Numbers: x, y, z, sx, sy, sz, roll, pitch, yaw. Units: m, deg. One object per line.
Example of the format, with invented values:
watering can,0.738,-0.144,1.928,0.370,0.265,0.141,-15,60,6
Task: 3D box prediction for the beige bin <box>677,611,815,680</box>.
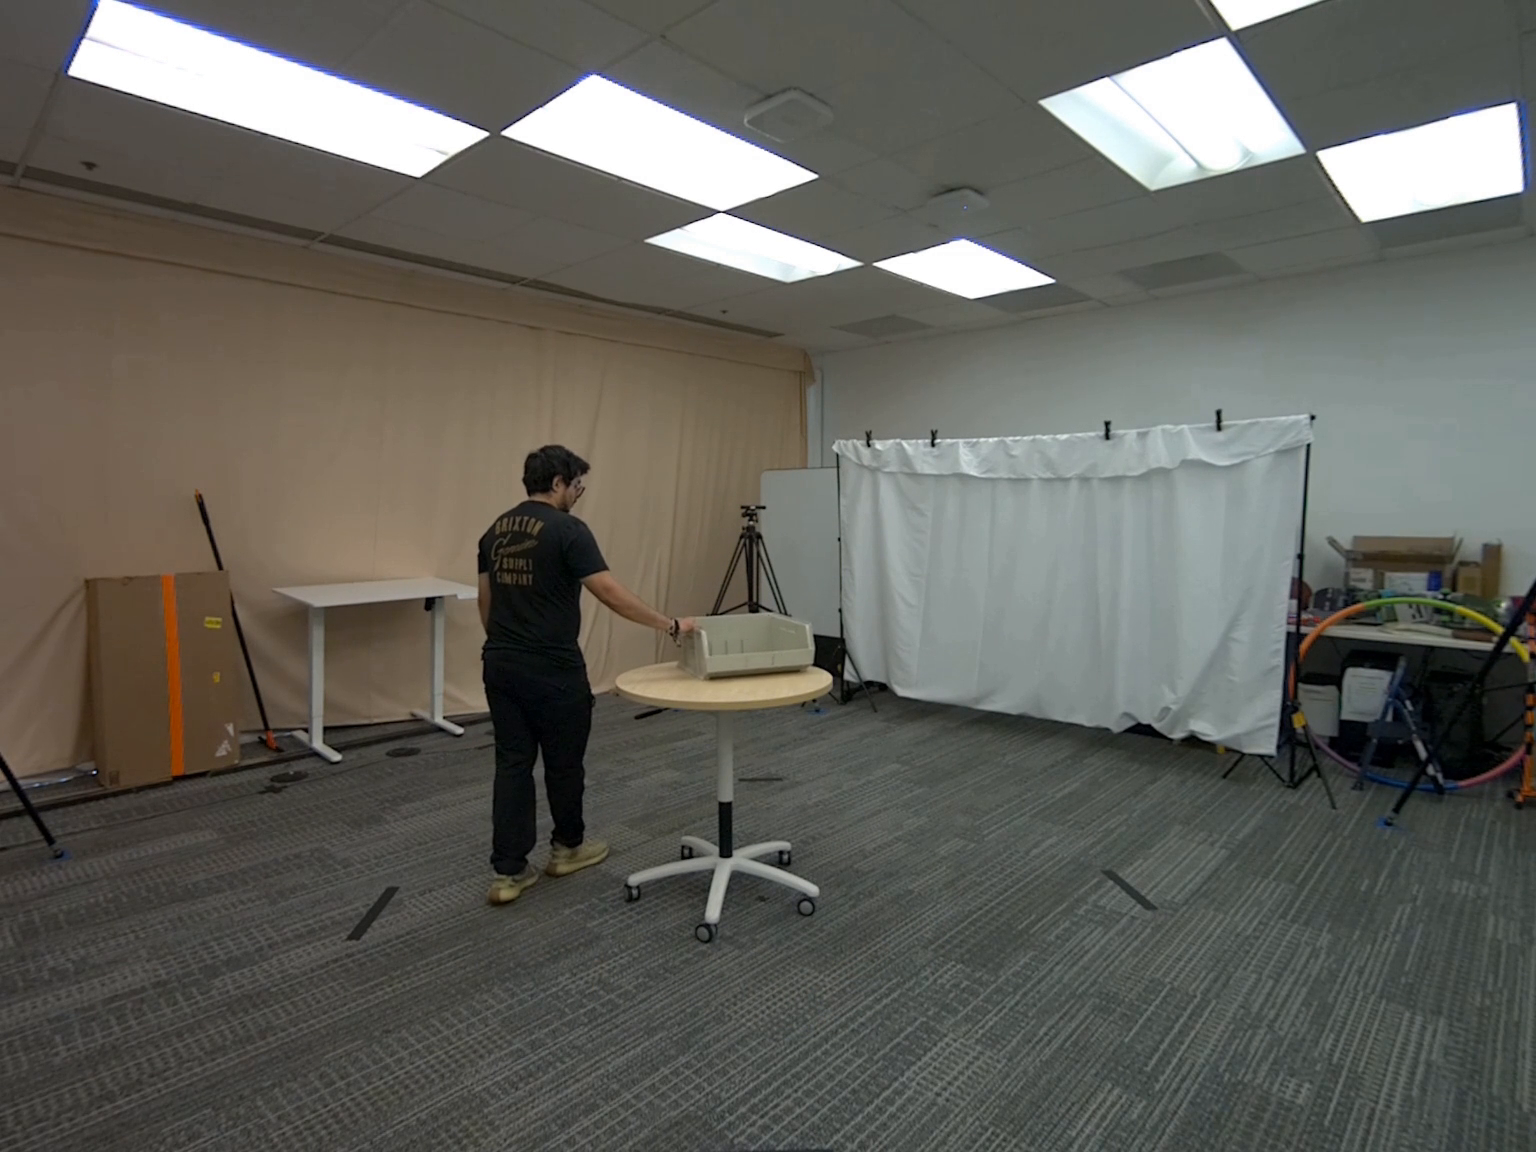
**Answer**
beige bin,-0.093,0.257,3.128,0.414,0.189,0.386,-3,3,-21
